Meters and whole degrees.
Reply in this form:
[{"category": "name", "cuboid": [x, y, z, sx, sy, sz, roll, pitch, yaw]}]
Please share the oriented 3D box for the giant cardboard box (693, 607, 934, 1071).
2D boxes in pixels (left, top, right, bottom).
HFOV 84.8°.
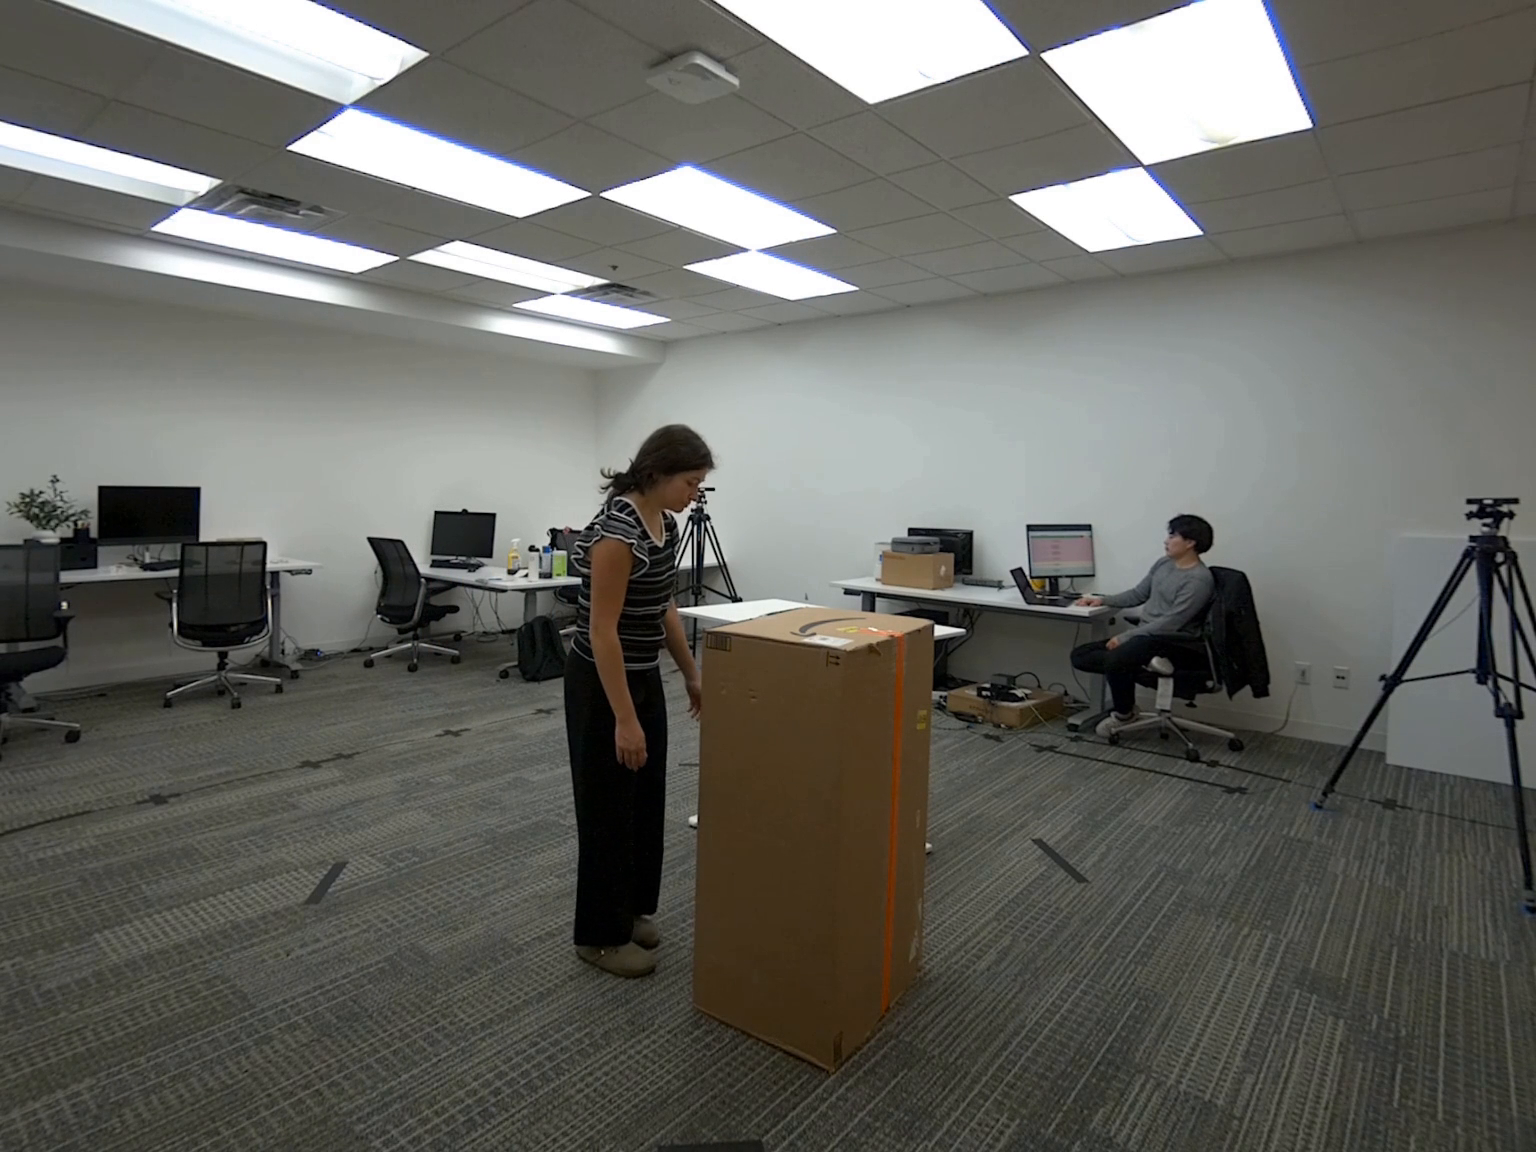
[{"category": "giant cardboard box", "cuboid": [0.134, 0.642, 2.348, 0.439, 1.022, 0.562, 4, 4, 32]}]
